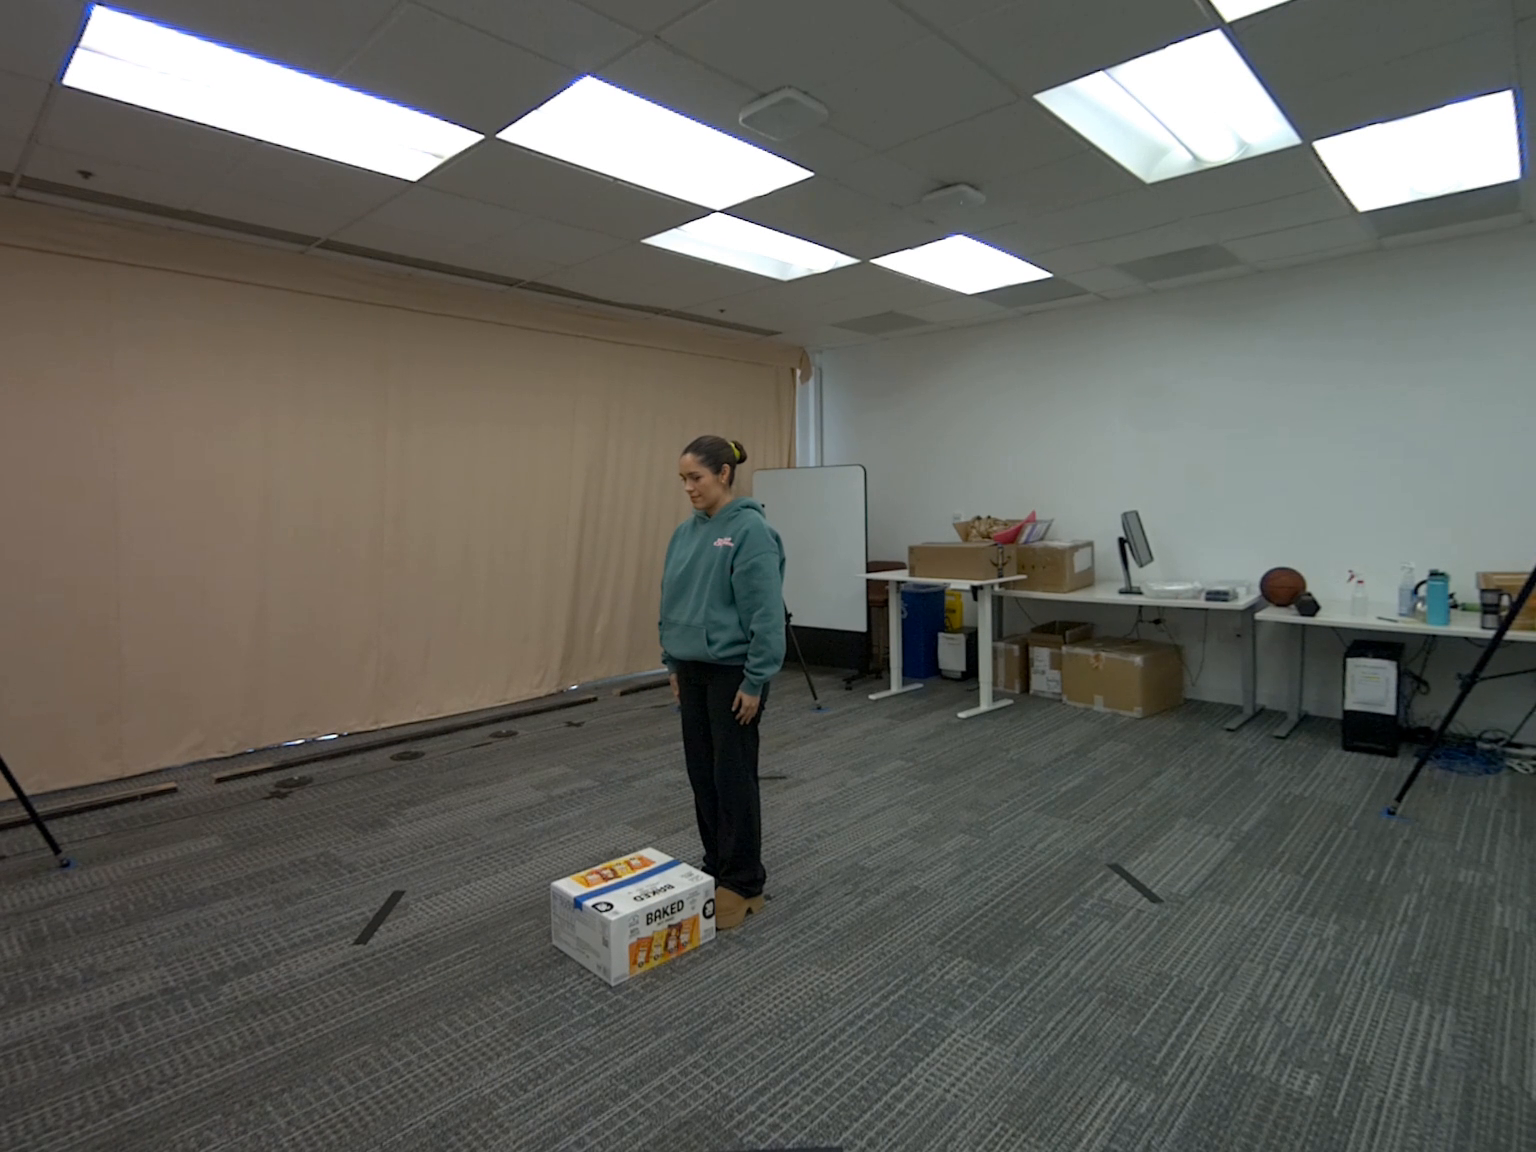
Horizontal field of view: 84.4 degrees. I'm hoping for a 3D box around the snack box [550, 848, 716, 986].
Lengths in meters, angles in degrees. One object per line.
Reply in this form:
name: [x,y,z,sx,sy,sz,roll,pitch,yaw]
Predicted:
snack box: [-0.432,1.075,2.686,0.393,0.205,0.351,-5,6,-43]
